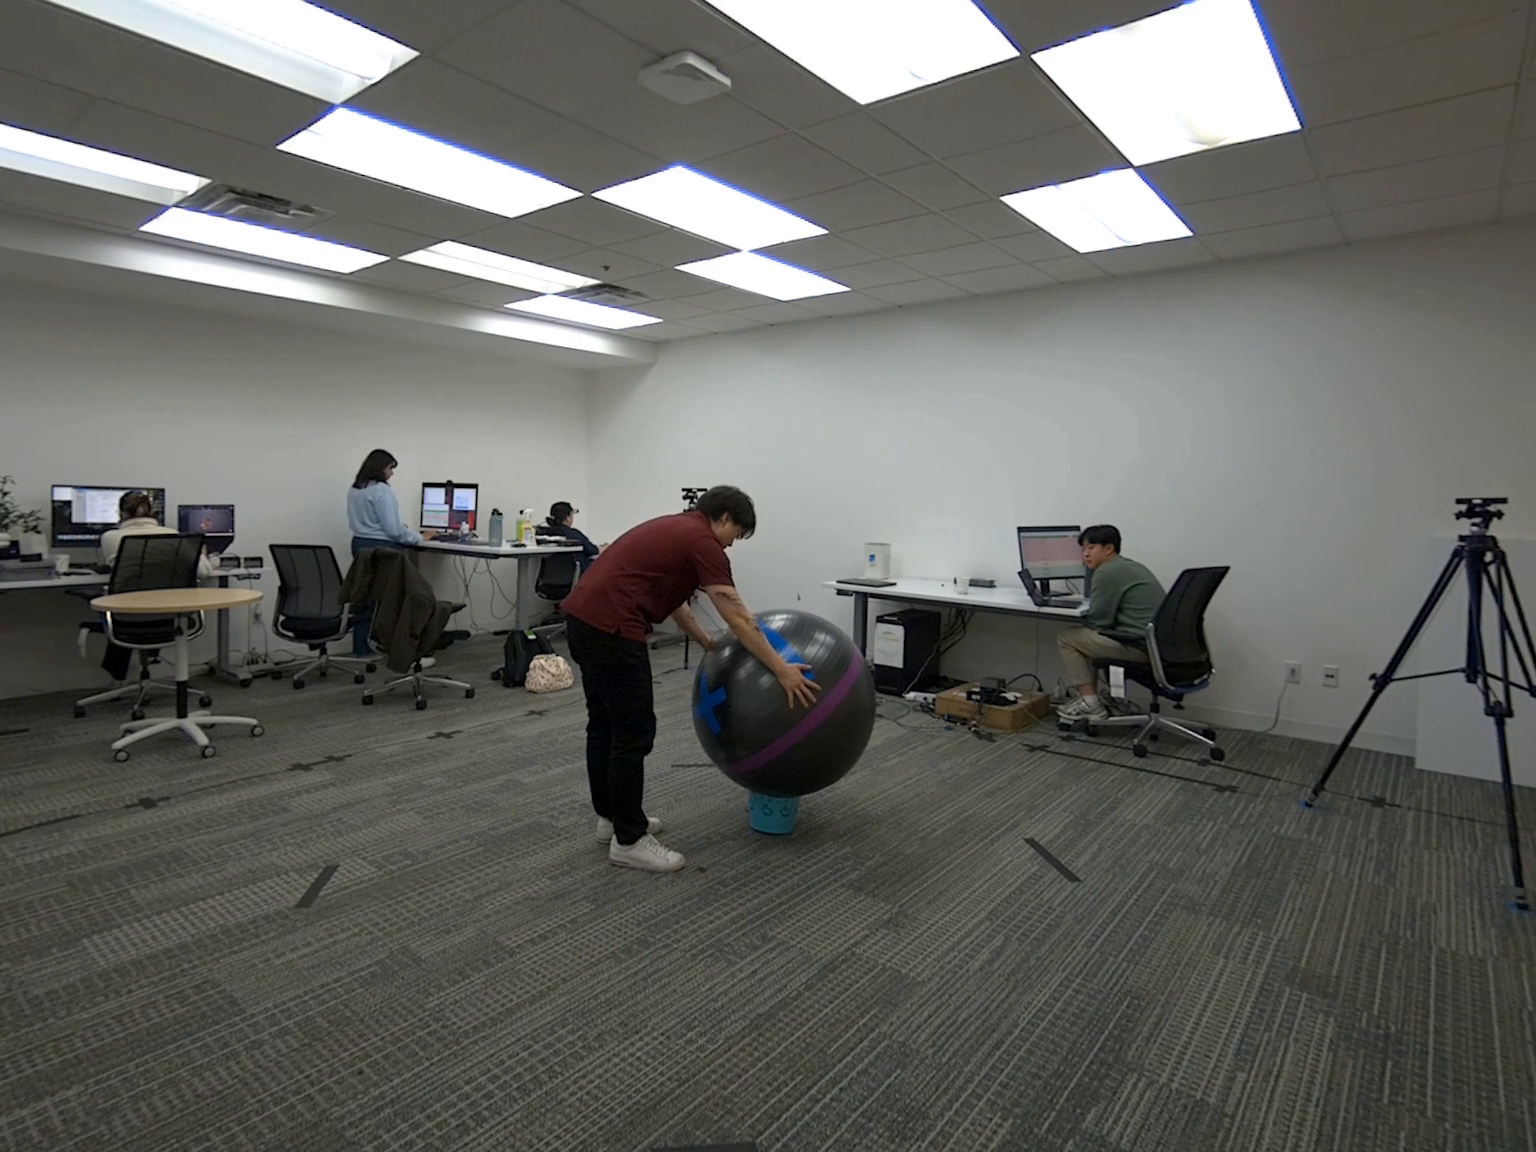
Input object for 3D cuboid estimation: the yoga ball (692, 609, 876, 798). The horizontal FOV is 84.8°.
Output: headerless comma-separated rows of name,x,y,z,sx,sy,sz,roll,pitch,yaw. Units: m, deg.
yoga ball,0.053,0.522,3.522,0.757,0.755,0.762,1,4,-2
